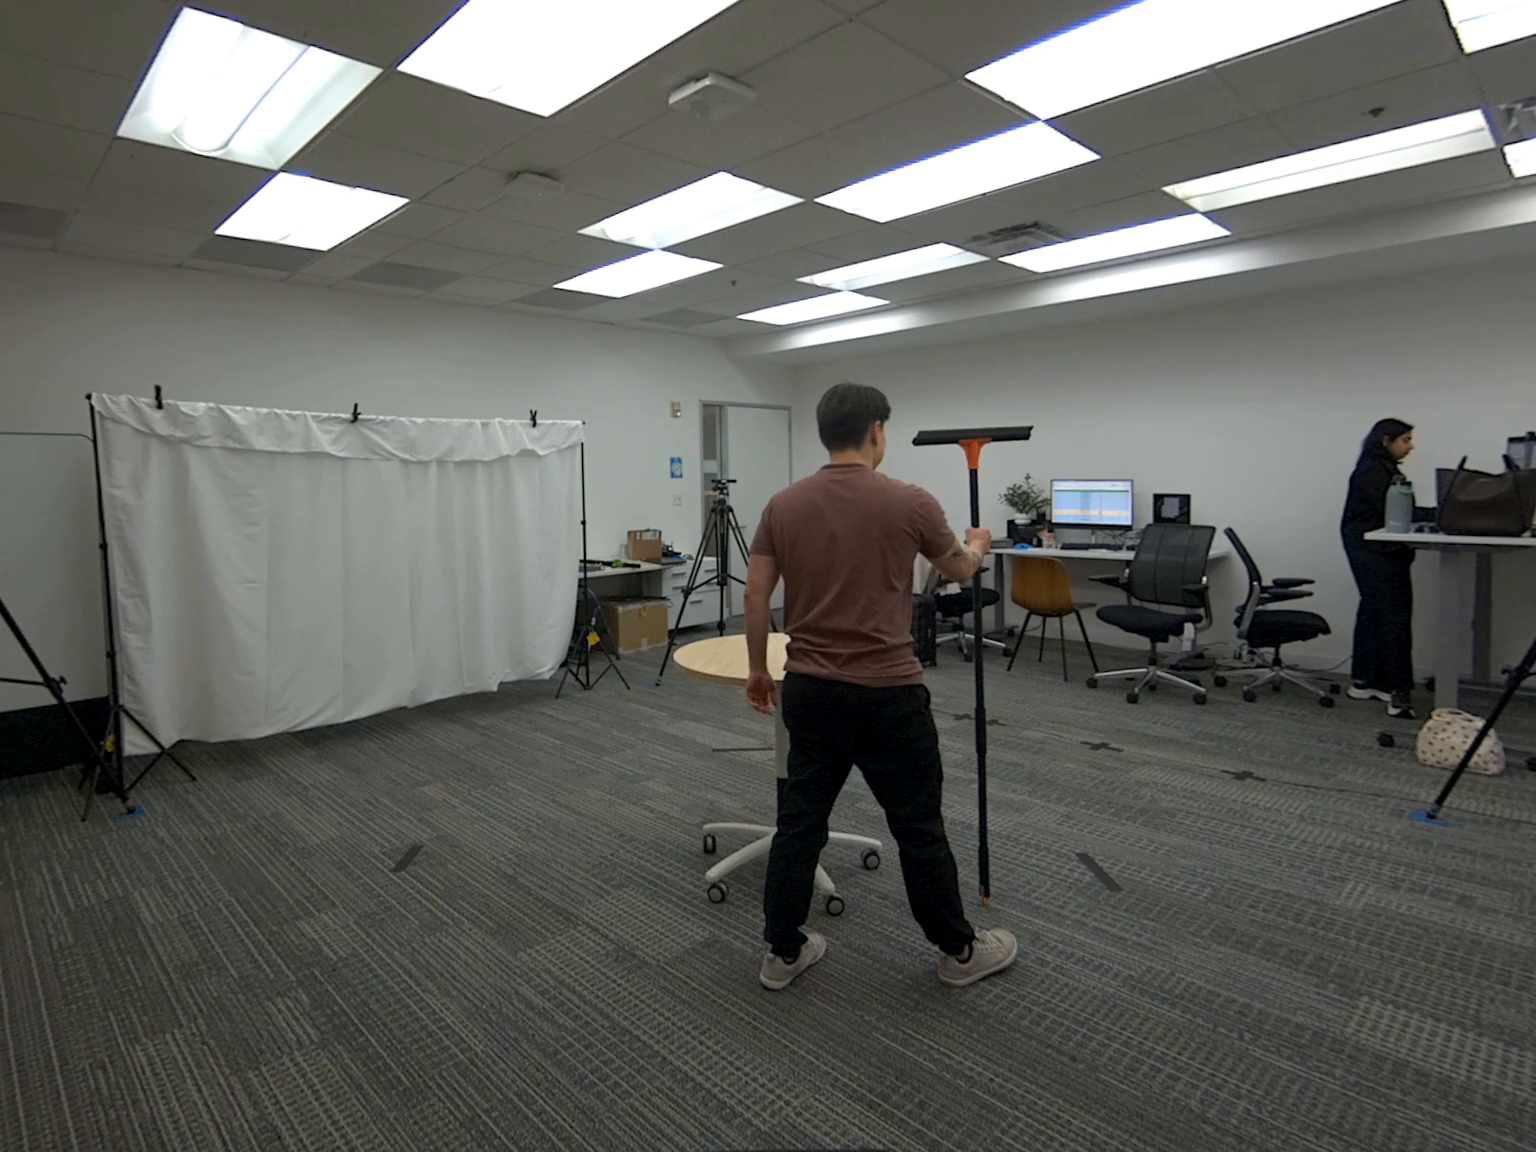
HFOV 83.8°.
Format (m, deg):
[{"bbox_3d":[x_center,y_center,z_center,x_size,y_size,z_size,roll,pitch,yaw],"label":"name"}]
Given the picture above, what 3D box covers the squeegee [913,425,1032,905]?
[{"bbox_3d":[0.678,0.304,2.727,0.430,1.530,0.054,-3,5,-19],"label":"squeegee"}]
